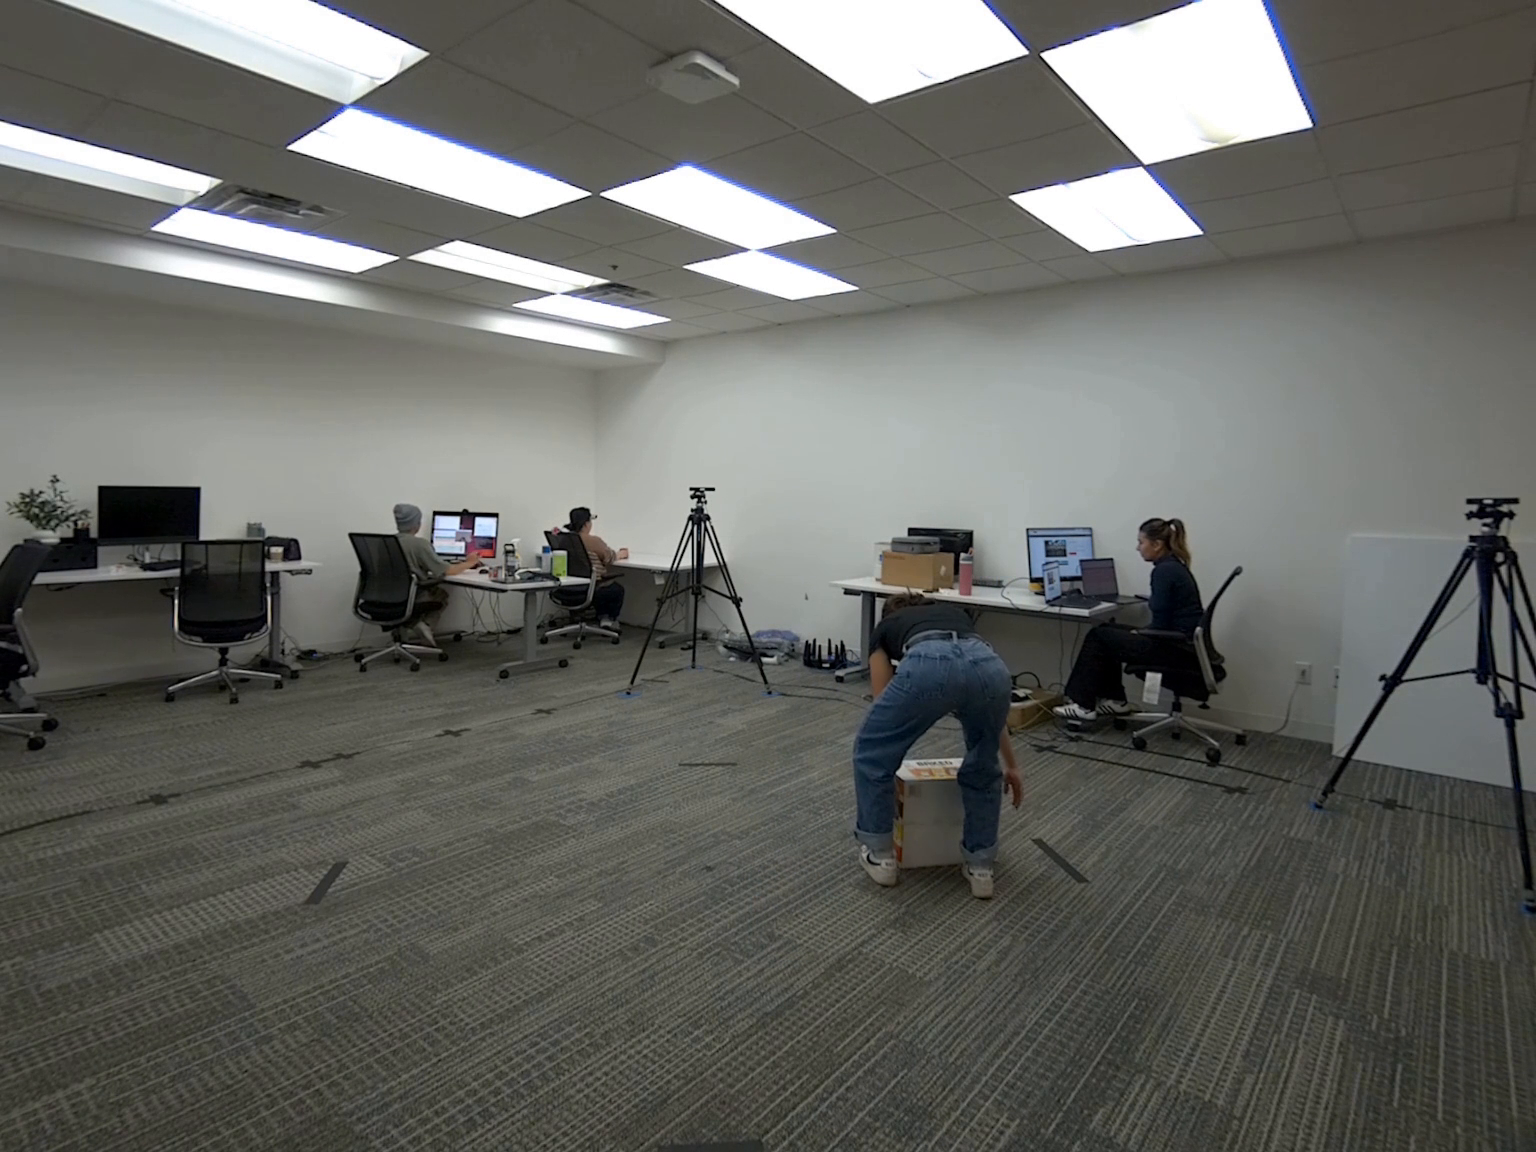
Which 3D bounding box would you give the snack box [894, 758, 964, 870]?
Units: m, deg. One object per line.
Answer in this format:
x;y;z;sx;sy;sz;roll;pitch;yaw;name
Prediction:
0.652;0.900;3.269;0.400;0.339;0.209;0;6;-13;snack box
